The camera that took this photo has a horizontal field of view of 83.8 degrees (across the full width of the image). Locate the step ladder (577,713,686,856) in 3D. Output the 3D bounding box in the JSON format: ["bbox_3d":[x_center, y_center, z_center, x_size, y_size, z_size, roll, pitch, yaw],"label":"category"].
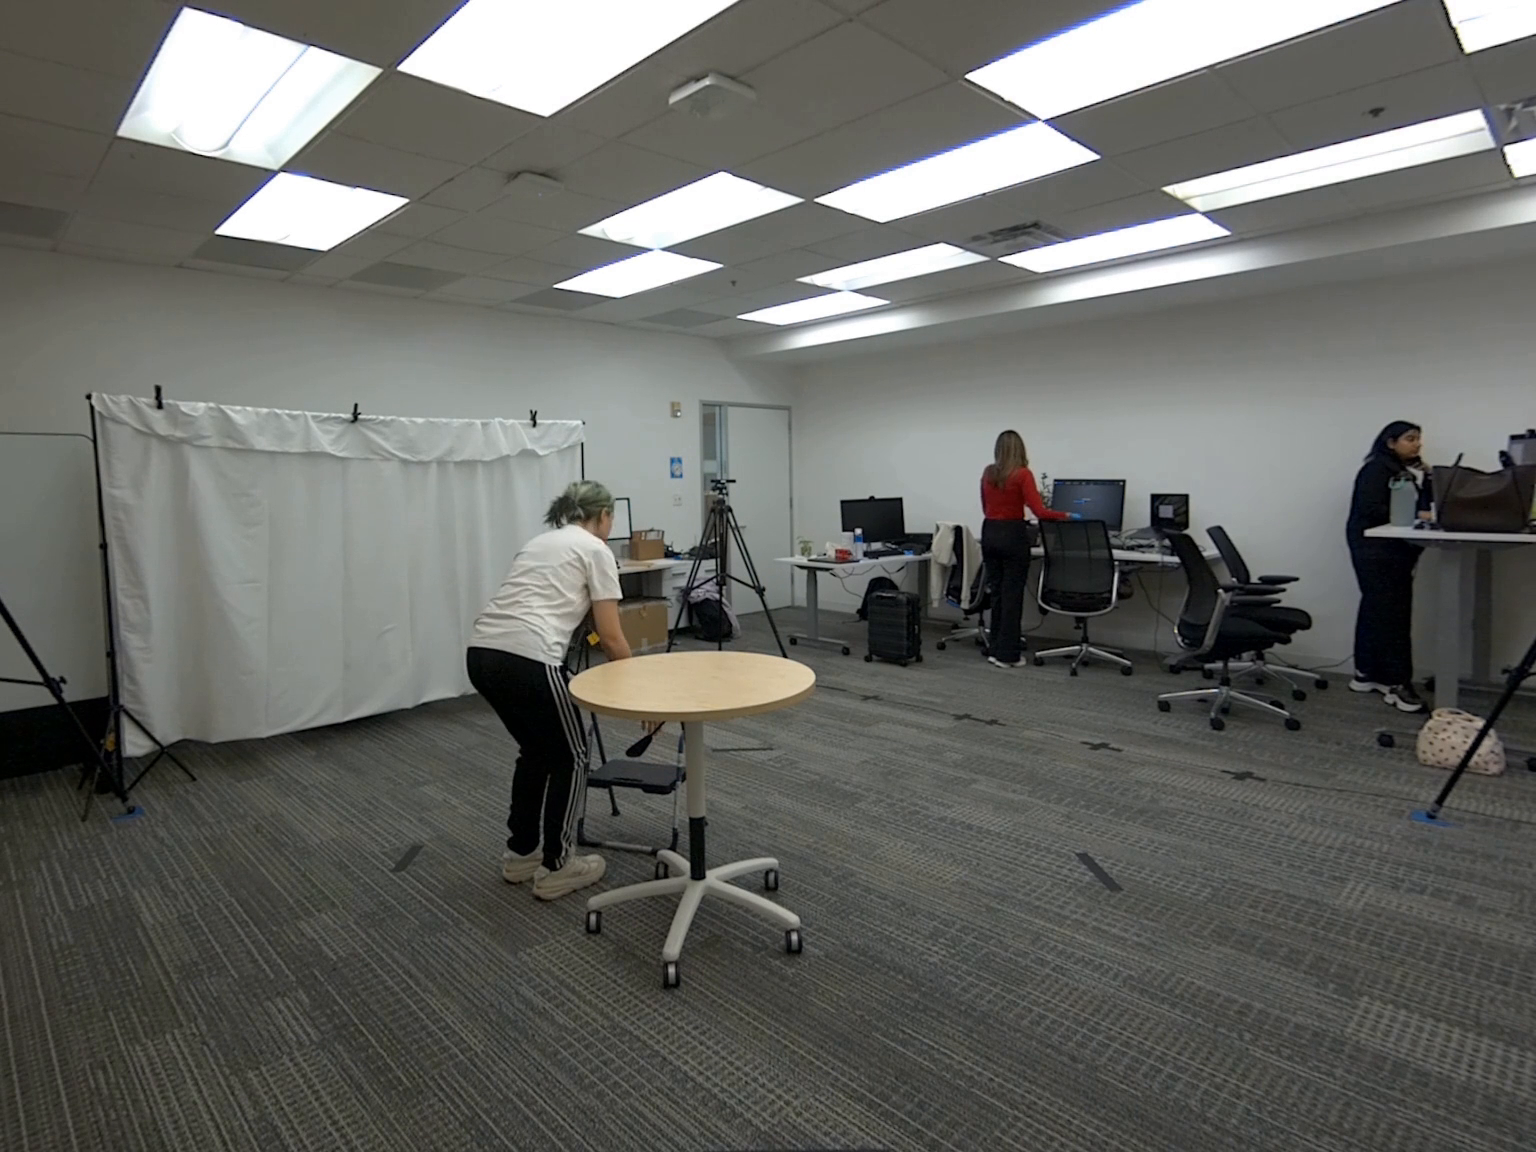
[{"bbox_3d":[-0.501,0.723,3.371,0.438,0.604,0.344,0,3,18],"label":"step ladder"}]
